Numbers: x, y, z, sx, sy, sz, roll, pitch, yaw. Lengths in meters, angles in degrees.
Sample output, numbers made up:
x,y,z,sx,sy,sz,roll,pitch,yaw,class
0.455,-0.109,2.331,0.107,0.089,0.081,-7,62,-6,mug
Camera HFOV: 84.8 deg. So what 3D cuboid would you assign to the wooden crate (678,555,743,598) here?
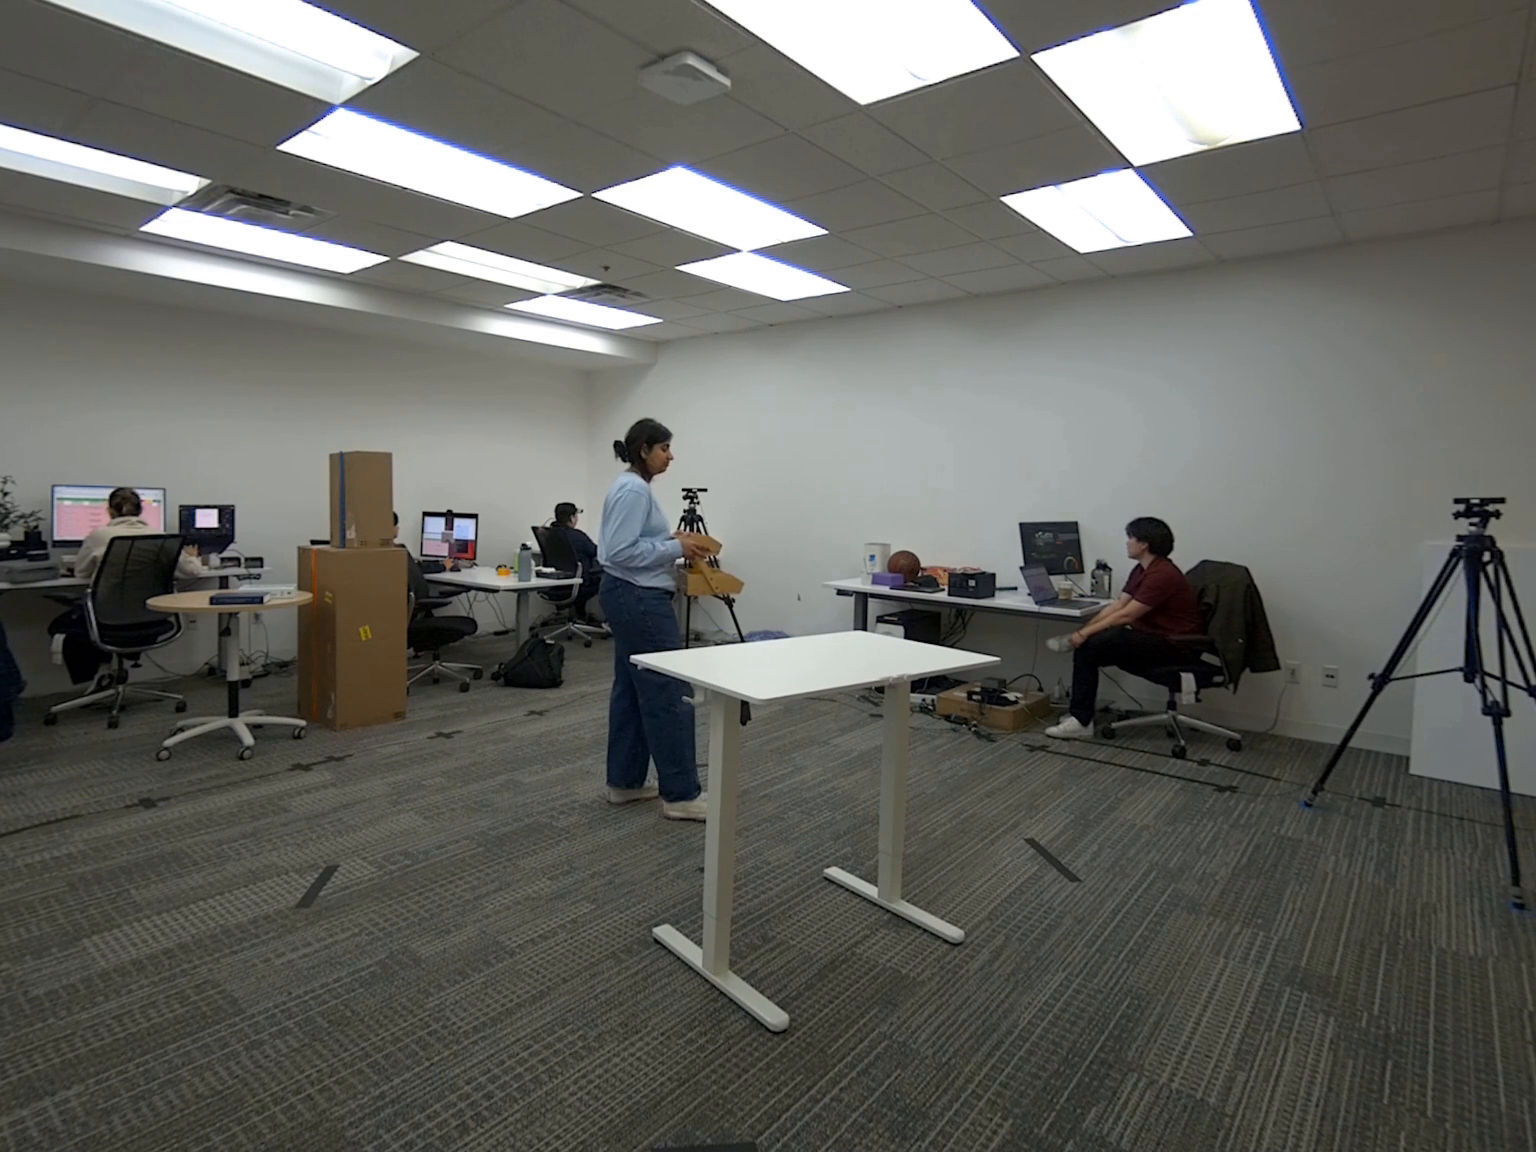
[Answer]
x,y,z,sx,sy,sz,roll,pitch,yaw,class
-0.289,-0.064,3.825,0.299,0.273,0.328,-3,2,-9,wooden crate
